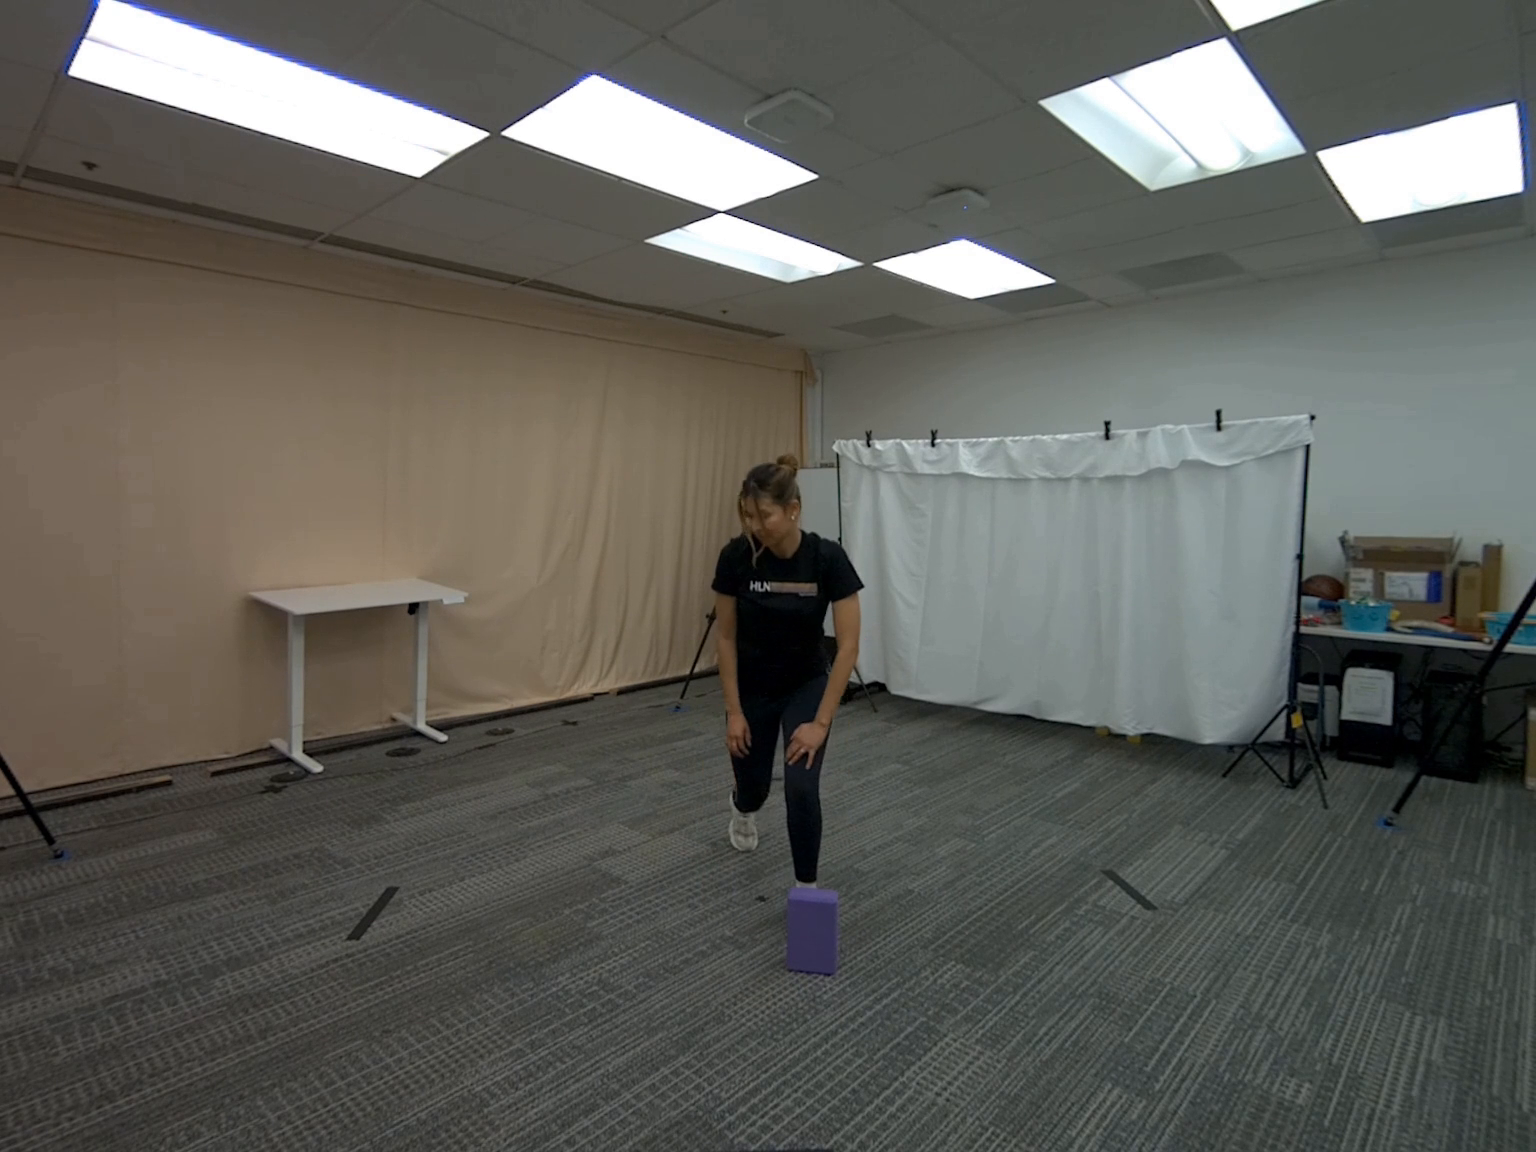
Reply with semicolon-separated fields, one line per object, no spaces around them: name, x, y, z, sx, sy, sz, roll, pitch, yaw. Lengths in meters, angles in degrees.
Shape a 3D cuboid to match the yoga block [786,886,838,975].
yoga block;0.138;1.069;2.530;0.150;0.229;0.076;1;4;7
